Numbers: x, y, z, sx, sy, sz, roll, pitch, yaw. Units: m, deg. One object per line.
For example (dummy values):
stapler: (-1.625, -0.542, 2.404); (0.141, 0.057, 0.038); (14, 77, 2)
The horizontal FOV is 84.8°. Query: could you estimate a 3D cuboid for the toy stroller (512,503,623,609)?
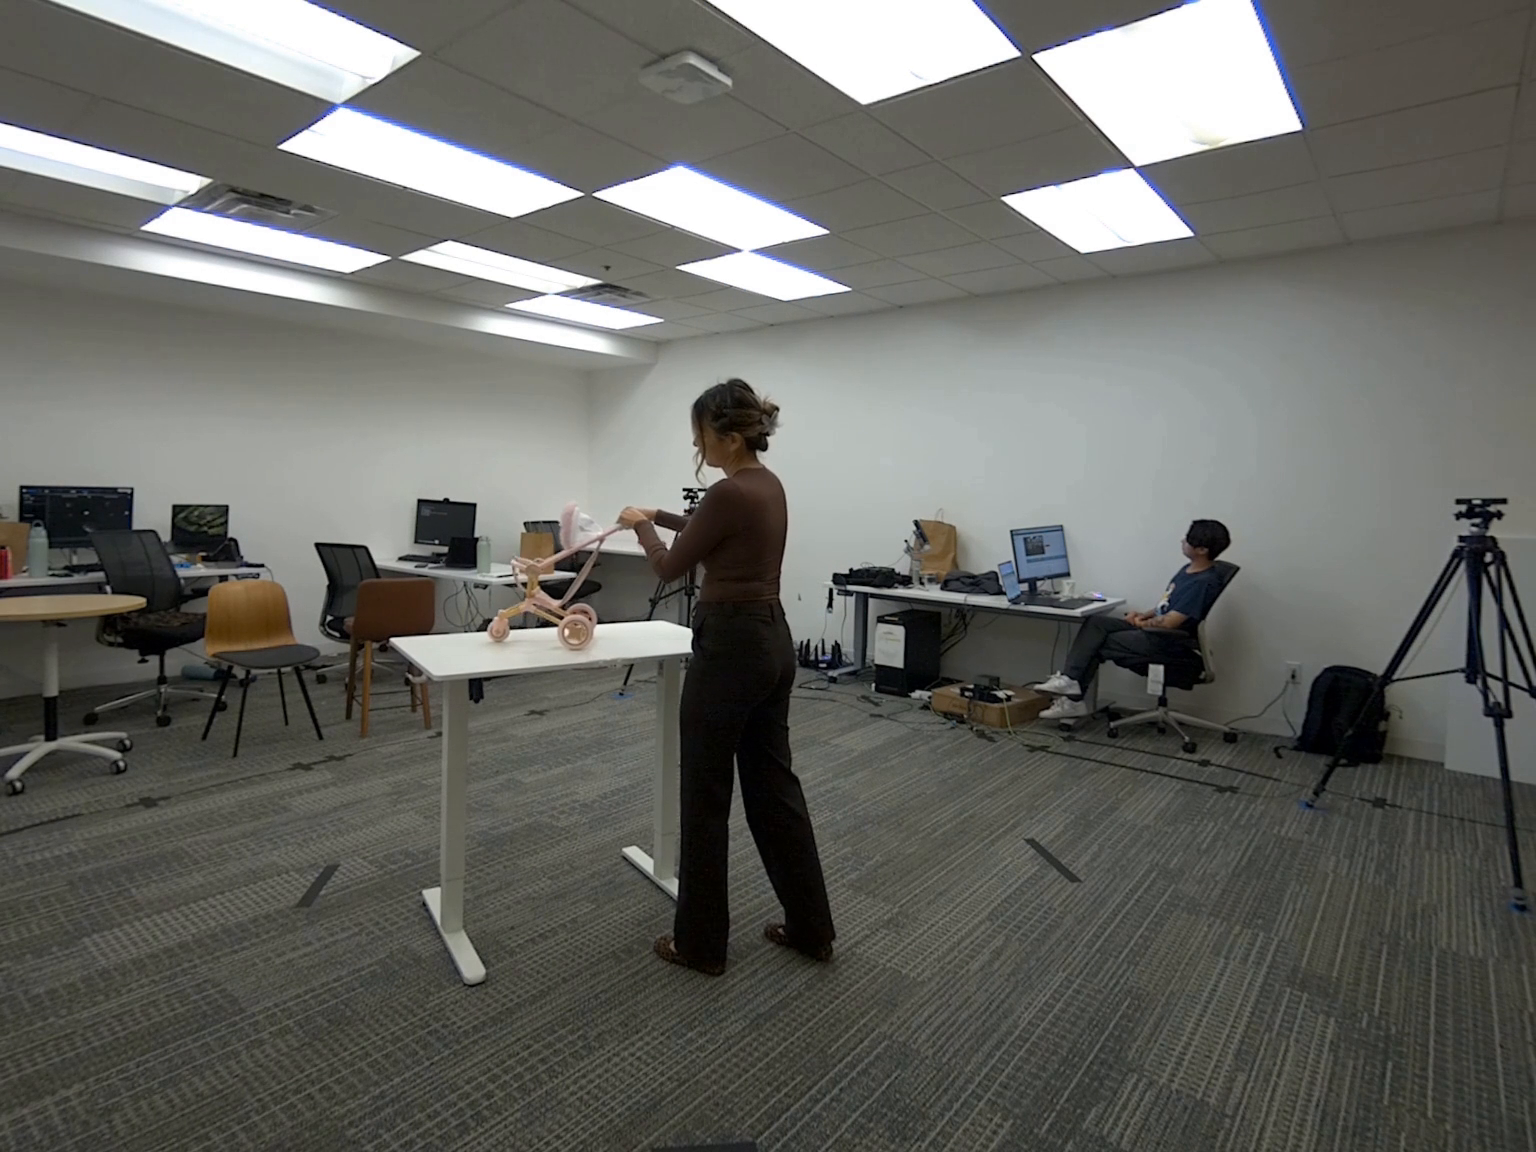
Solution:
toy stroller: (-0.689, -0.003, 2.746); (0.340, 0.534, 0.282); (16, 2, -3)
